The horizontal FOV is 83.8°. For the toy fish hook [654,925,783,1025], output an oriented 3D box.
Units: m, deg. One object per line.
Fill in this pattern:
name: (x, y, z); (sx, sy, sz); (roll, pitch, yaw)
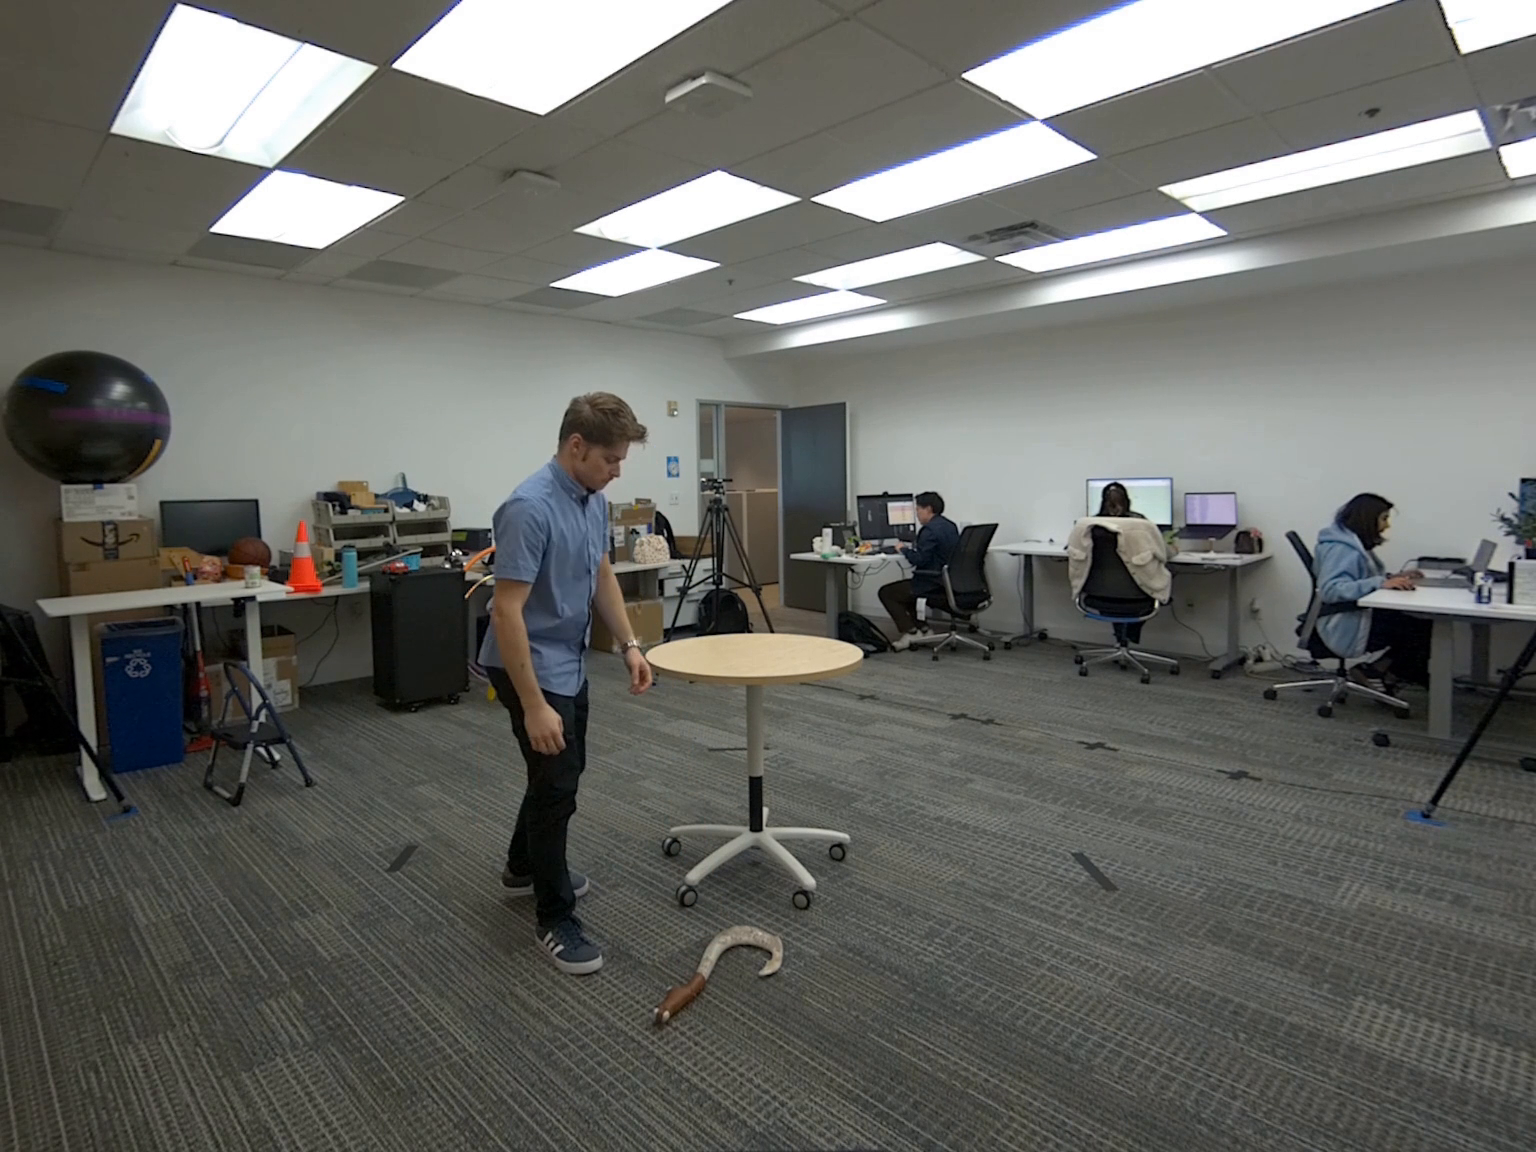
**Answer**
toy fish hook: (-0.117, 1.107, 2.383); (0.230, 0.048, 0.497); (2, 8, 27)
